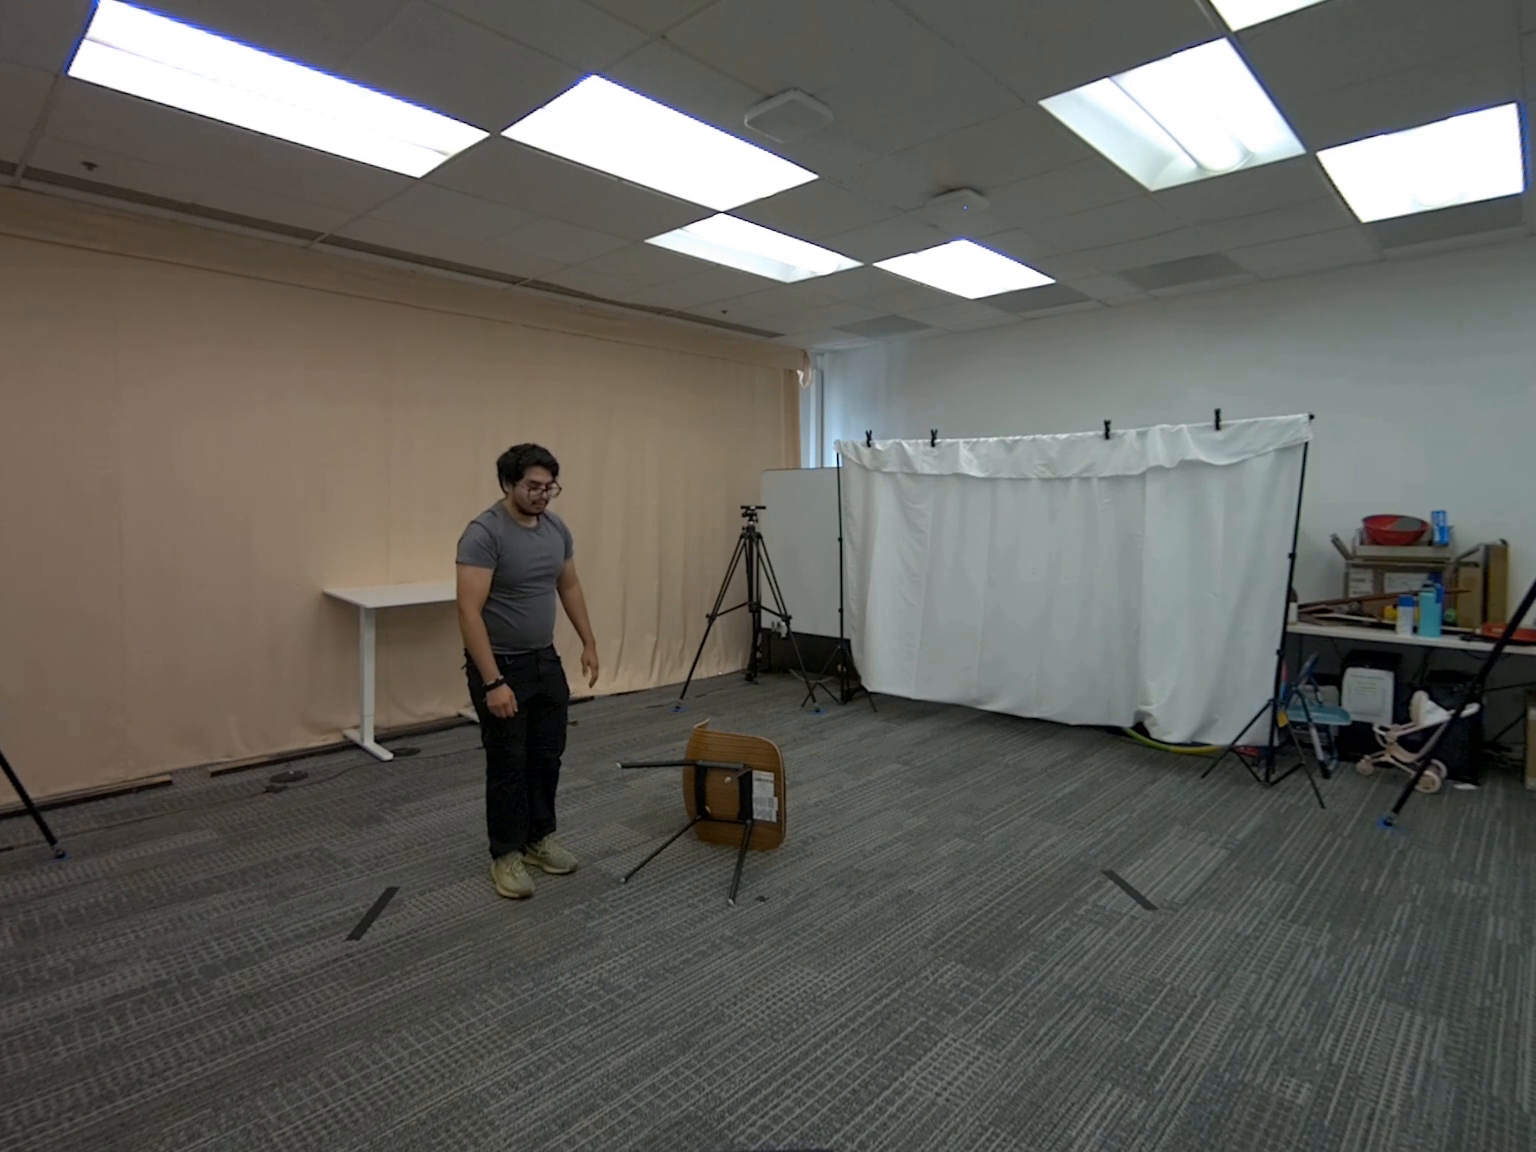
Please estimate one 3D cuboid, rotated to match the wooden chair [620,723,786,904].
[{"bbox_3d":[-0.181,0.876,3.397,0.533,0.477,0.863,-1,4,17],"label":"wooden chair"}]
